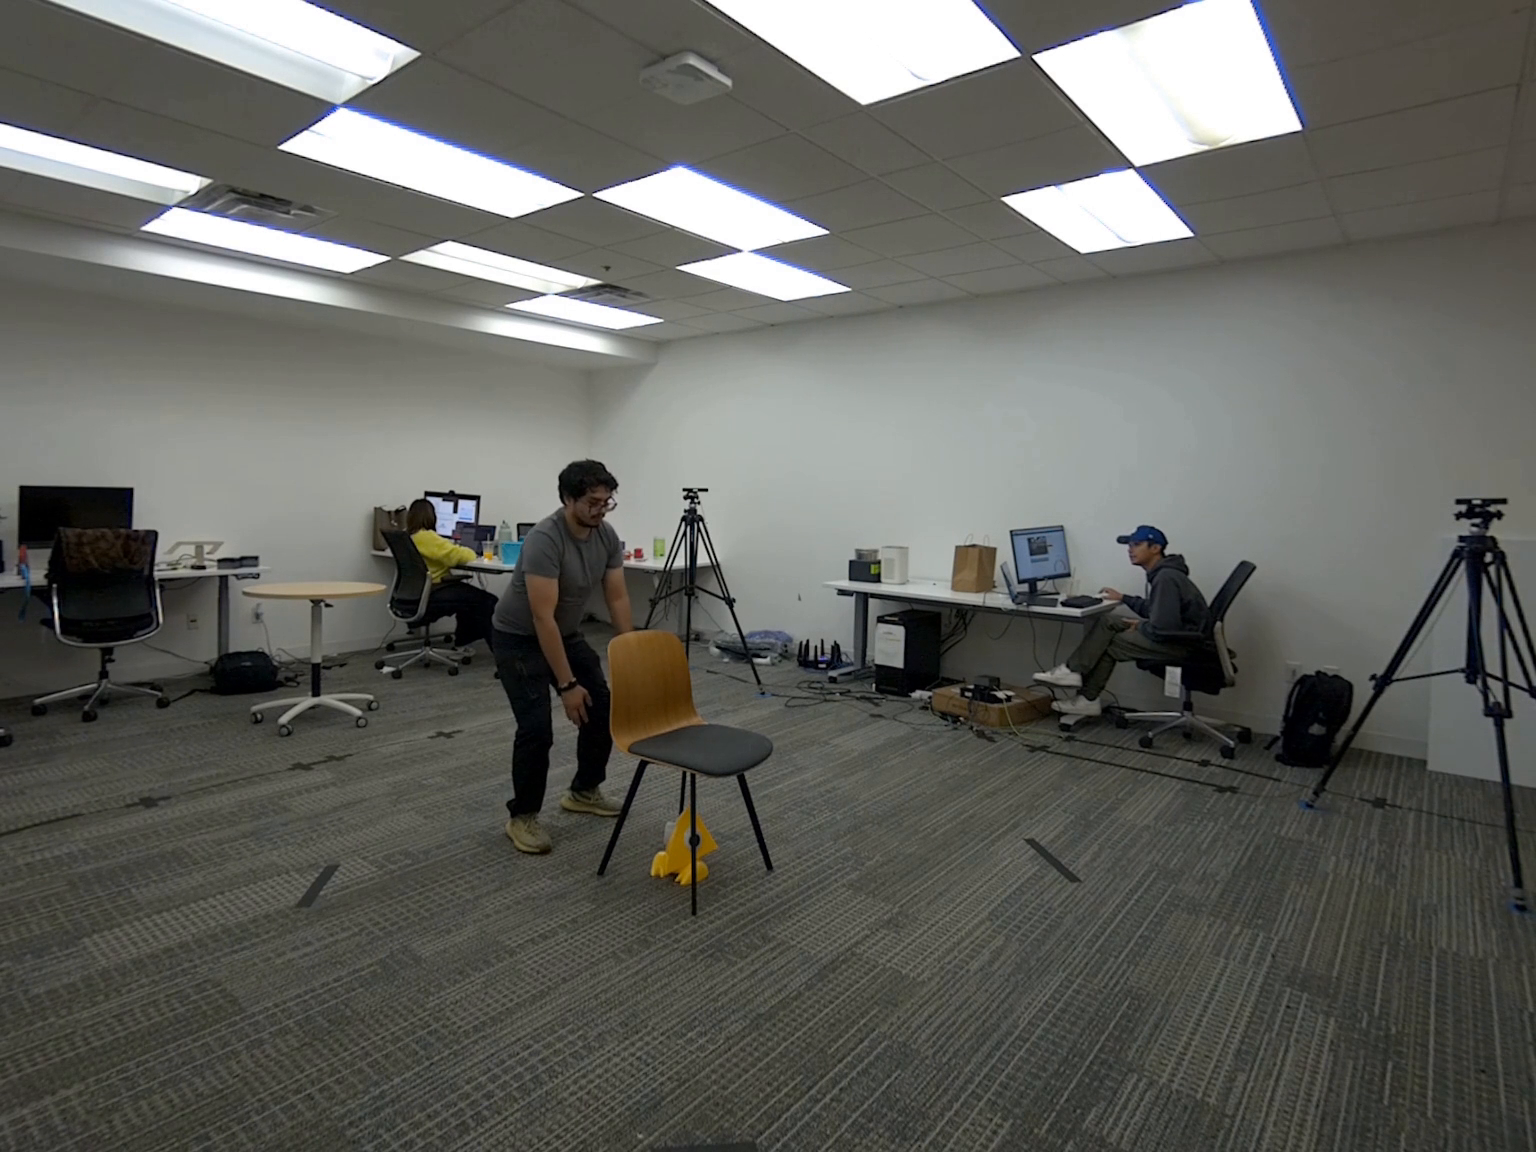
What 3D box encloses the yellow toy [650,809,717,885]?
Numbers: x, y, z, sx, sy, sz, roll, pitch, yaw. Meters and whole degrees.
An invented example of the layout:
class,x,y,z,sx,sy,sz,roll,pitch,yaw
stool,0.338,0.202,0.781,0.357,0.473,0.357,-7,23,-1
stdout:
class,x,y,z,sx,sy,sz,roll,pitch,yaw
yellow toy,-0.326,0.955,3.088,0.211,0.230,0.188,3,3,30
